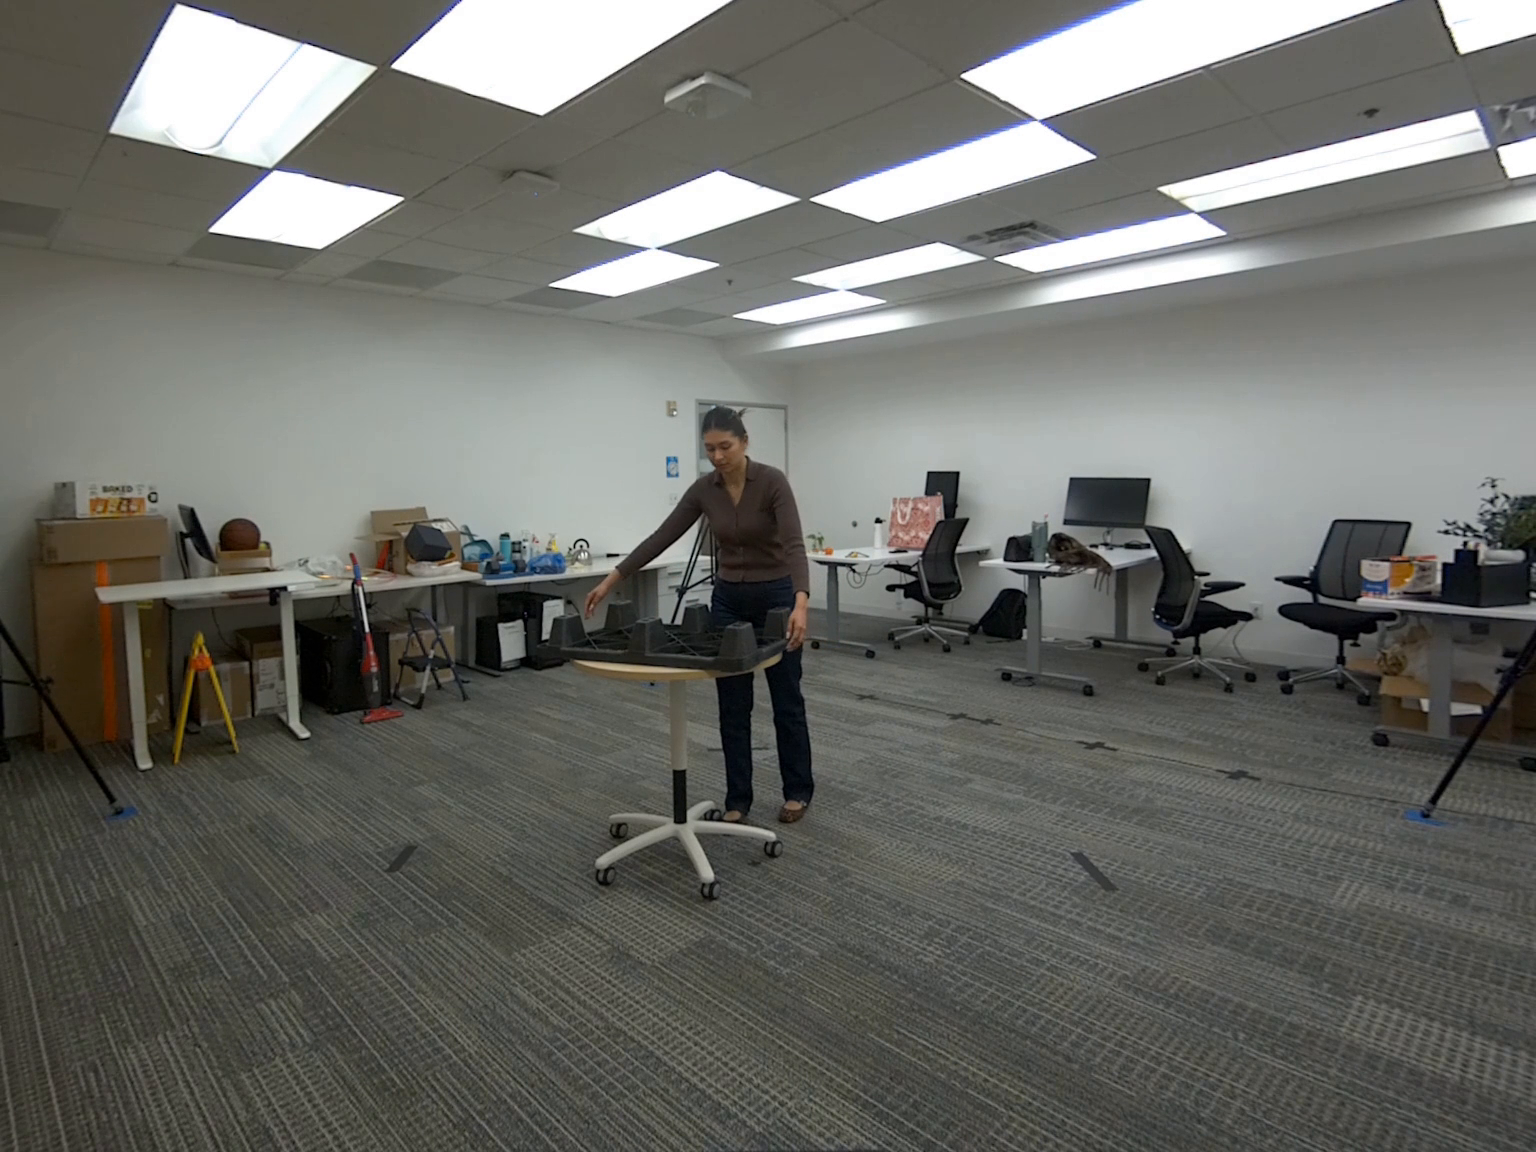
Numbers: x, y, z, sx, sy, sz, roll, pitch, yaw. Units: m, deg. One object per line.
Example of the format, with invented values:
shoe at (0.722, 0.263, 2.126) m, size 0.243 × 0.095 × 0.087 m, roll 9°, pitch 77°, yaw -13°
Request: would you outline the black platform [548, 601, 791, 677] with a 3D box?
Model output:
black platform at (-0.334, 0.199, 3.126) m, size 0.824 × 0.143 × 0.594 m, roll 2°, pitch 7°, yaw 24°
